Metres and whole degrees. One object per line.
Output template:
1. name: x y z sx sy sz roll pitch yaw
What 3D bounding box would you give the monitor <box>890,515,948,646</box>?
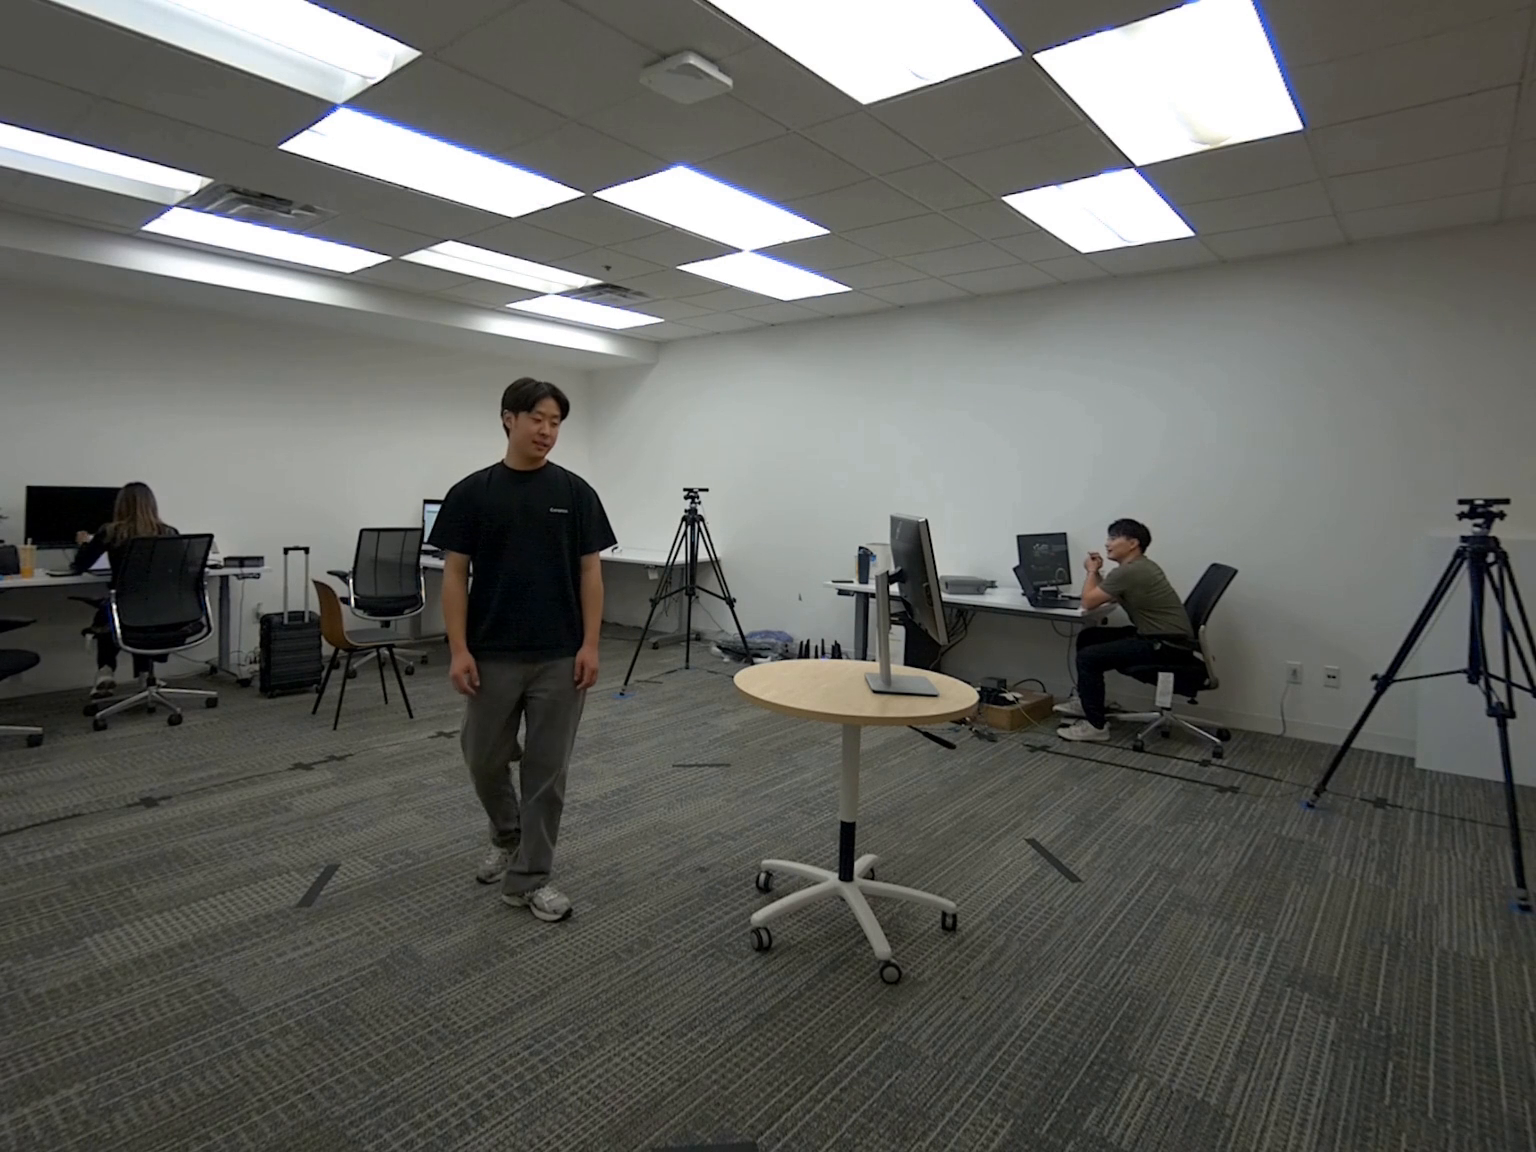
1. monitor: 0.434 0.089 2.690 0.223 0.564 0.561 4 5 2
